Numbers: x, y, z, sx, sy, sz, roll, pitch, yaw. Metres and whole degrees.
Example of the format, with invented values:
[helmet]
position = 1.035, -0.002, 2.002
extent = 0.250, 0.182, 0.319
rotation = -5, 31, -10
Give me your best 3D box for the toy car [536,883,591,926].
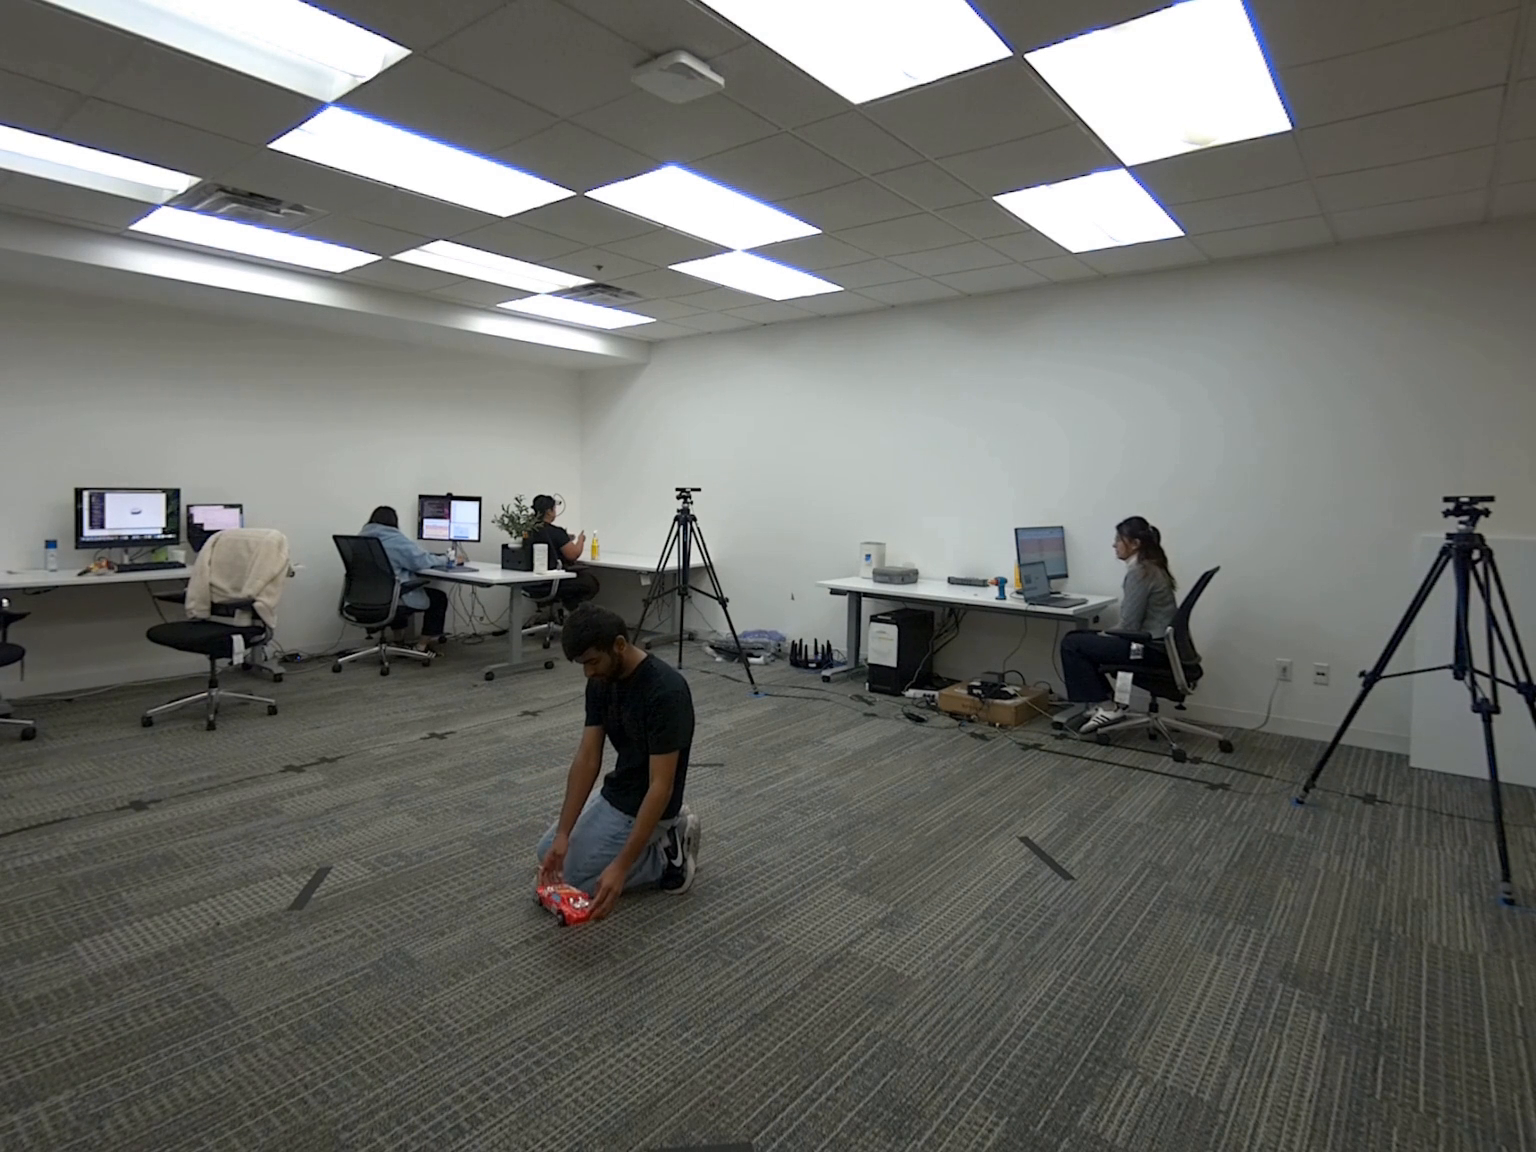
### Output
[toy car]
position = -0.609, 0.977, 2.541
extent = 0.126, 0.084, 0.261
rotation = 4, -7, -41
